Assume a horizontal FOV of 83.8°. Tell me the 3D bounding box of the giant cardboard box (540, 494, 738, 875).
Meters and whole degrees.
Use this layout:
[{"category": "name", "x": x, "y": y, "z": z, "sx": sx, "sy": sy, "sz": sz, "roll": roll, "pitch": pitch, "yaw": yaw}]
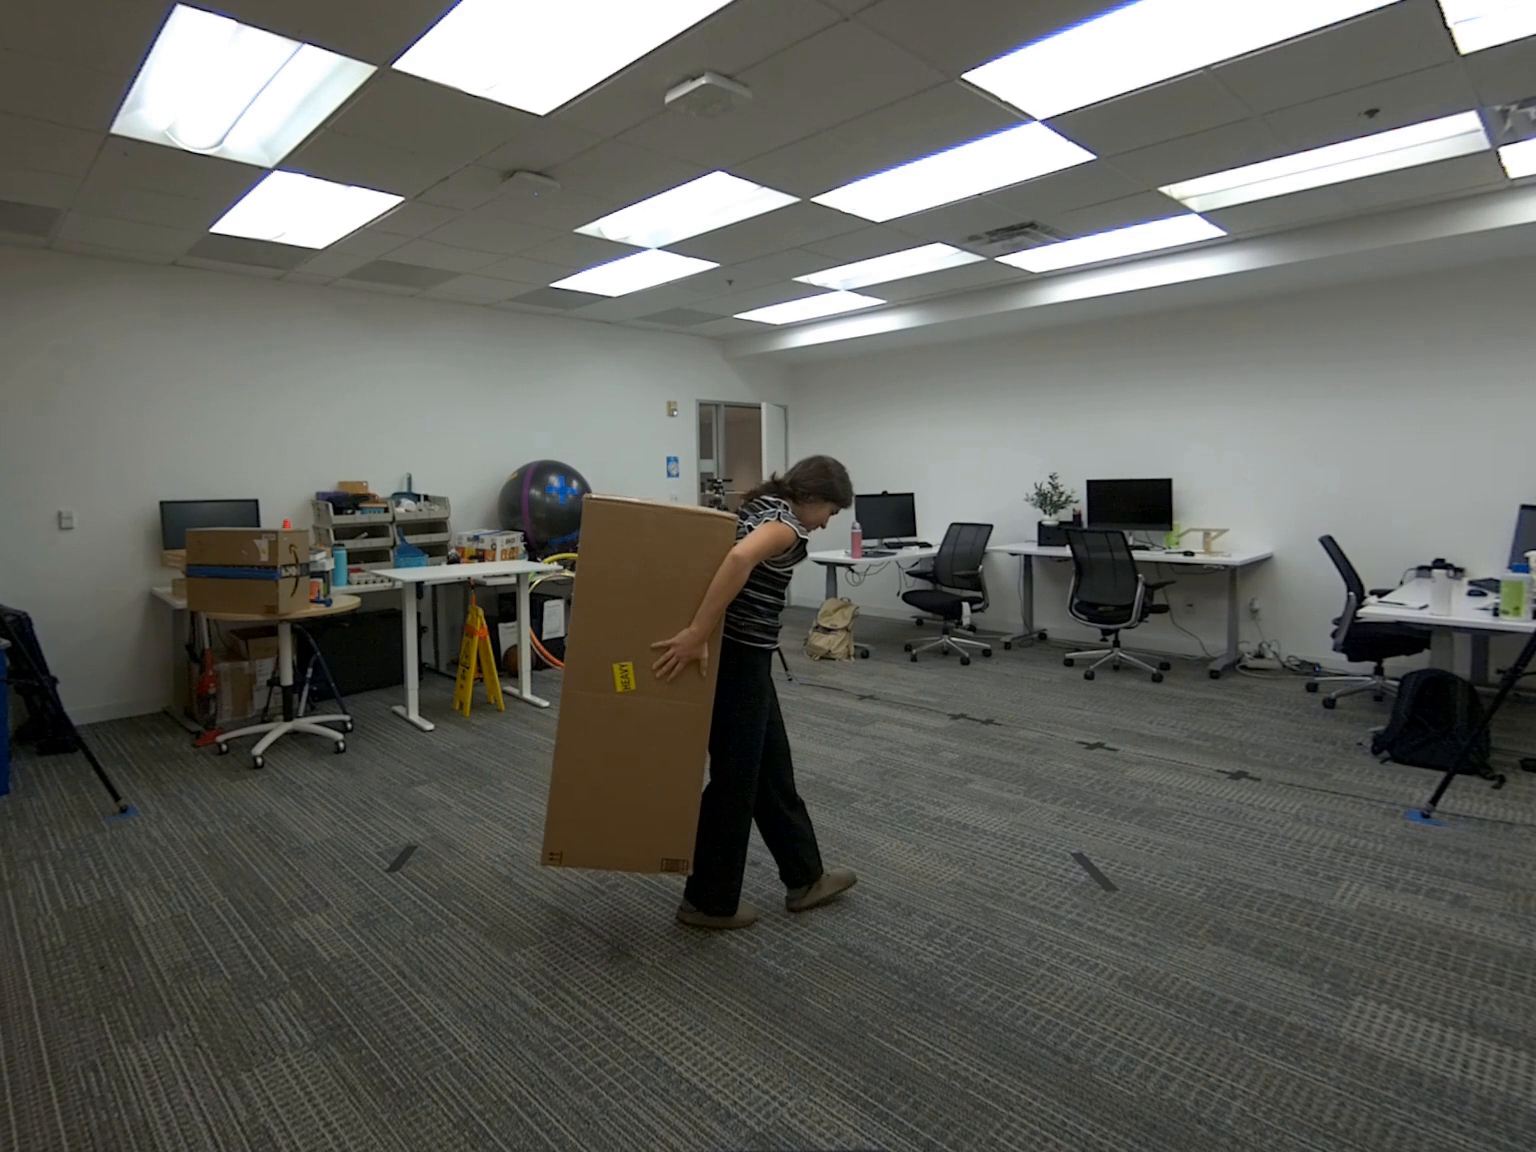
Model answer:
[{"category": "giant cardboard box", "x": -0.401, "y": 0.287, "z": 2.620, "sx": 0.423, "sy": 1.024, "sz": 0.583, "roll": 7, "pitch": 3, "yaw": -8}]
